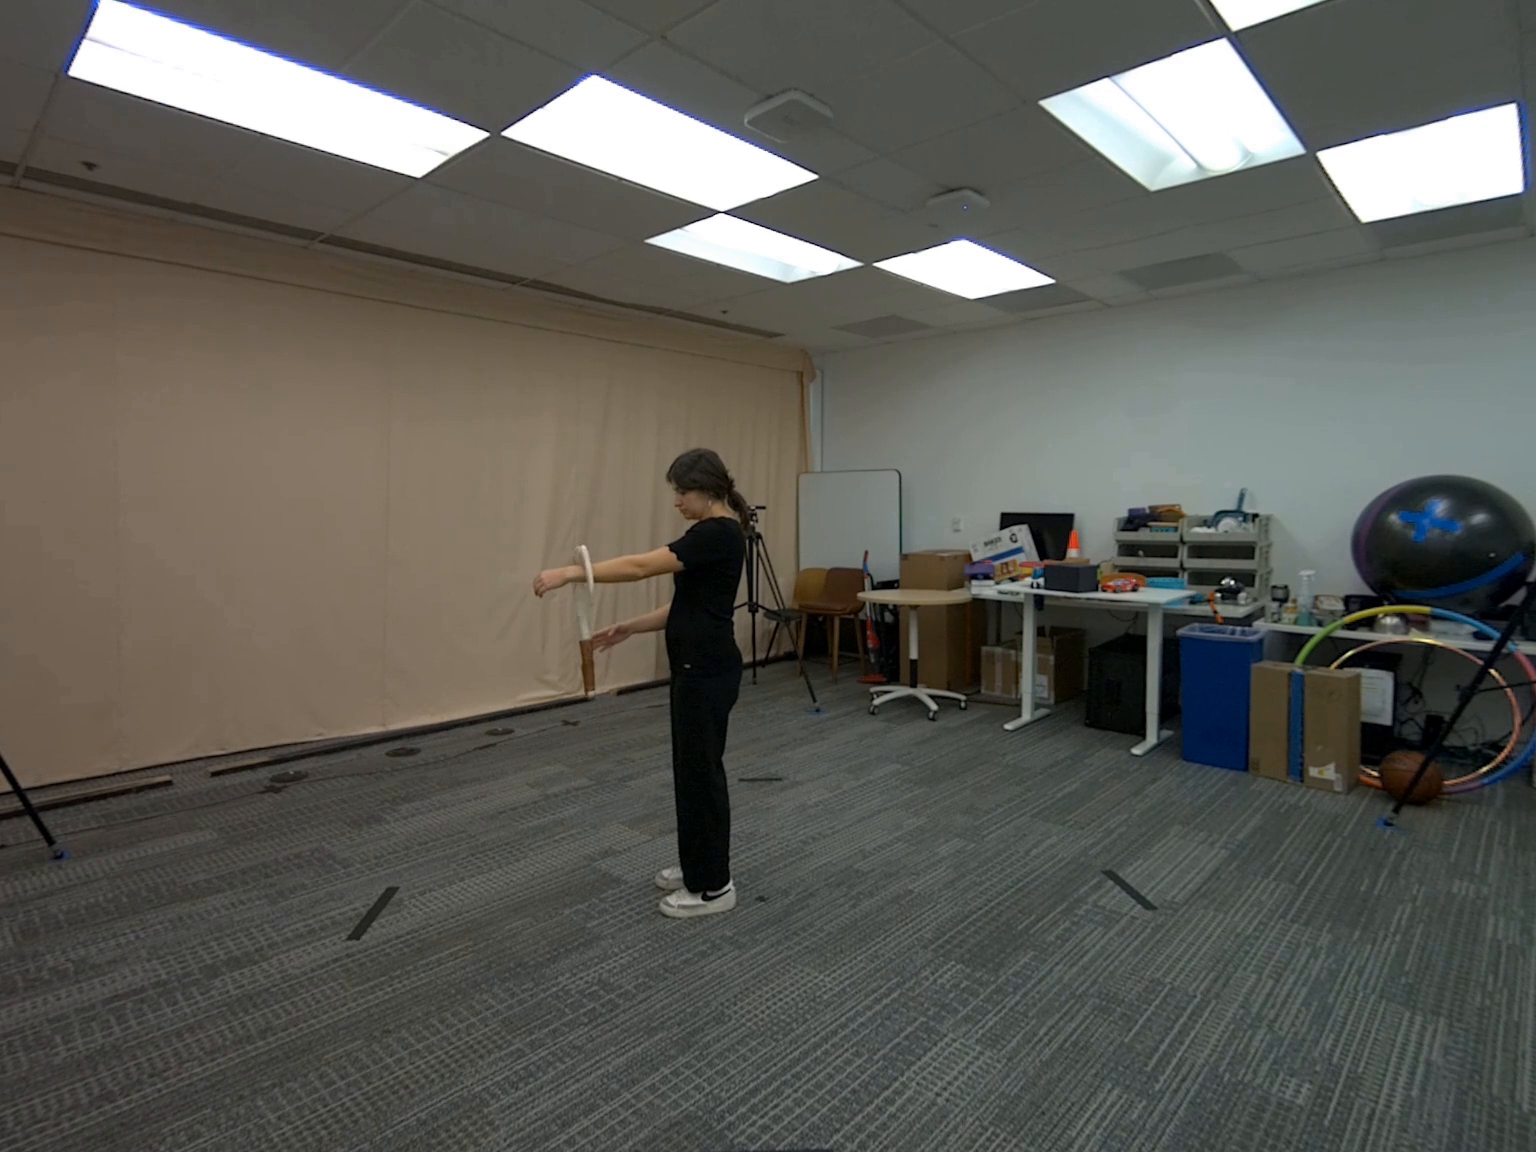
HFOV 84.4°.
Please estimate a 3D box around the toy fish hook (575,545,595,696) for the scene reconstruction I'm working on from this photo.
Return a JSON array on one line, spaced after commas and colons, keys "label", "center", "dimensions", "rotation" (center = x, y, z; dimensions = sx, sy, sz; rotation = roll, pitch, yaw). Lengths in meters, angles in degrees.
[{"label": "toy fish hook", "center": [-0.589, 0.159, 2.738], "dimensions": [0.047, 0.506, 0.229], "rotation": [-6, 2, -18]}]
